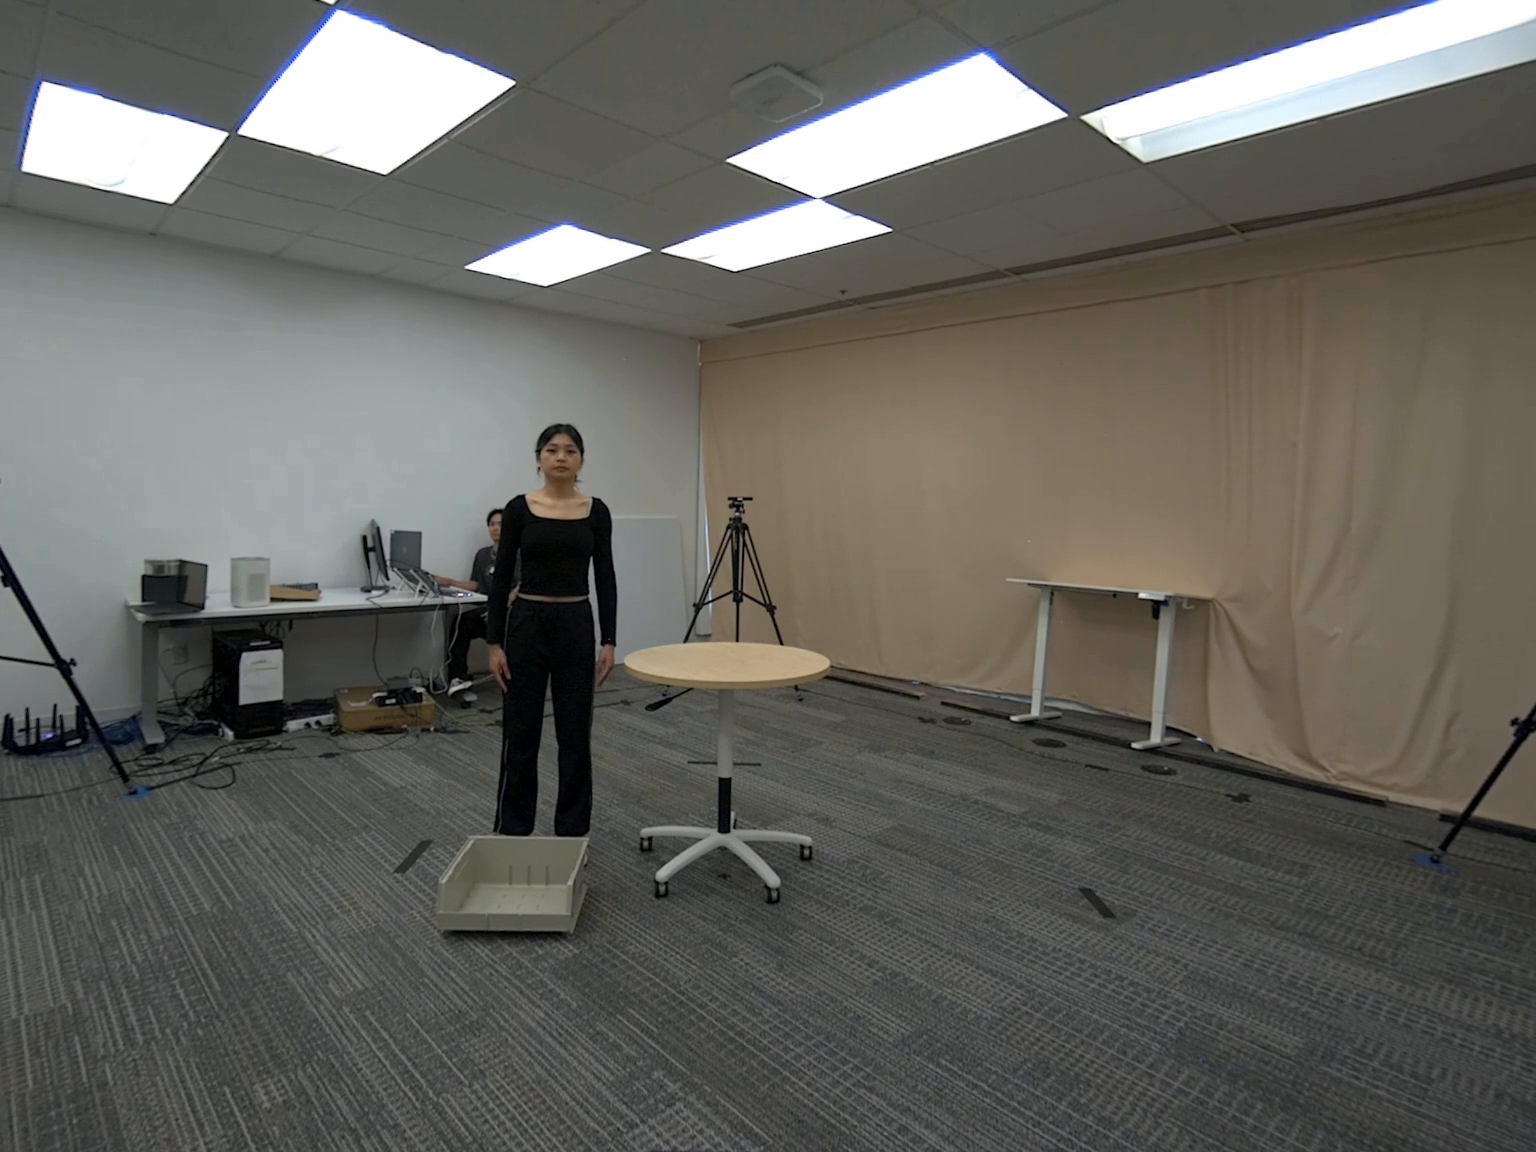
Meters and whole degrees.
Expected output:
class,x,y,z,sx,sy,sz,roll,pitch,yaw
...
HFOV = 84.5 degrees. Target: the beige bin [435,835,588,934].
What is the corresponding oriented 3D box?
class,x,y,z,sx,sy,sz,roll,pitch,yaw
beige bin,-0.840,1.032,2.791,0.422,0.188,0.379,1,4,-2
